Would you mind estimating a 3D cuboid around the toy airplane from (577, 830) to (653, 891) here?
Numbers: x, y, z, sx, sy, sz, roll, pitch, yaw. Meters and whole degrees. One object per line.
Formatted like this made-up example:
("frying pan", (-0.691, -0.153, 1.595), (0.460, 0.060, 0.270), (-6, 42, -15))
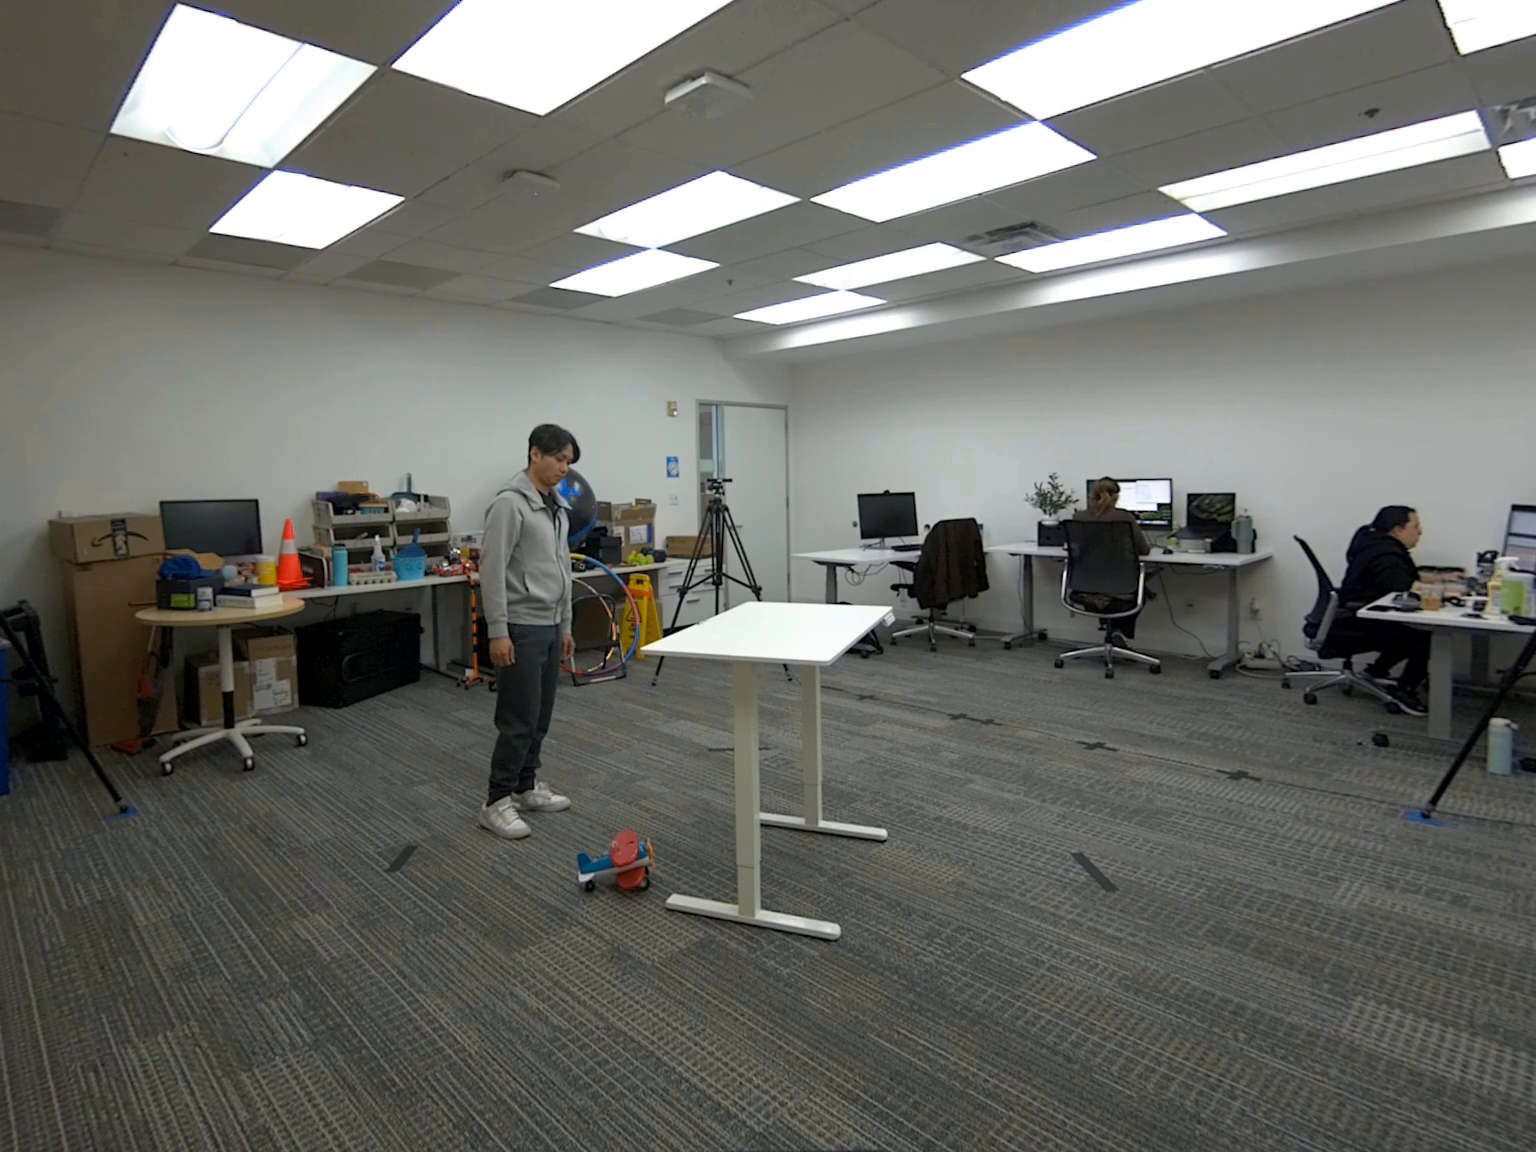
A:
("toy airplane", (-0.514, 0.998, 2.926), (0.253, 0.156, 0.259), (-5, 7, -36))
